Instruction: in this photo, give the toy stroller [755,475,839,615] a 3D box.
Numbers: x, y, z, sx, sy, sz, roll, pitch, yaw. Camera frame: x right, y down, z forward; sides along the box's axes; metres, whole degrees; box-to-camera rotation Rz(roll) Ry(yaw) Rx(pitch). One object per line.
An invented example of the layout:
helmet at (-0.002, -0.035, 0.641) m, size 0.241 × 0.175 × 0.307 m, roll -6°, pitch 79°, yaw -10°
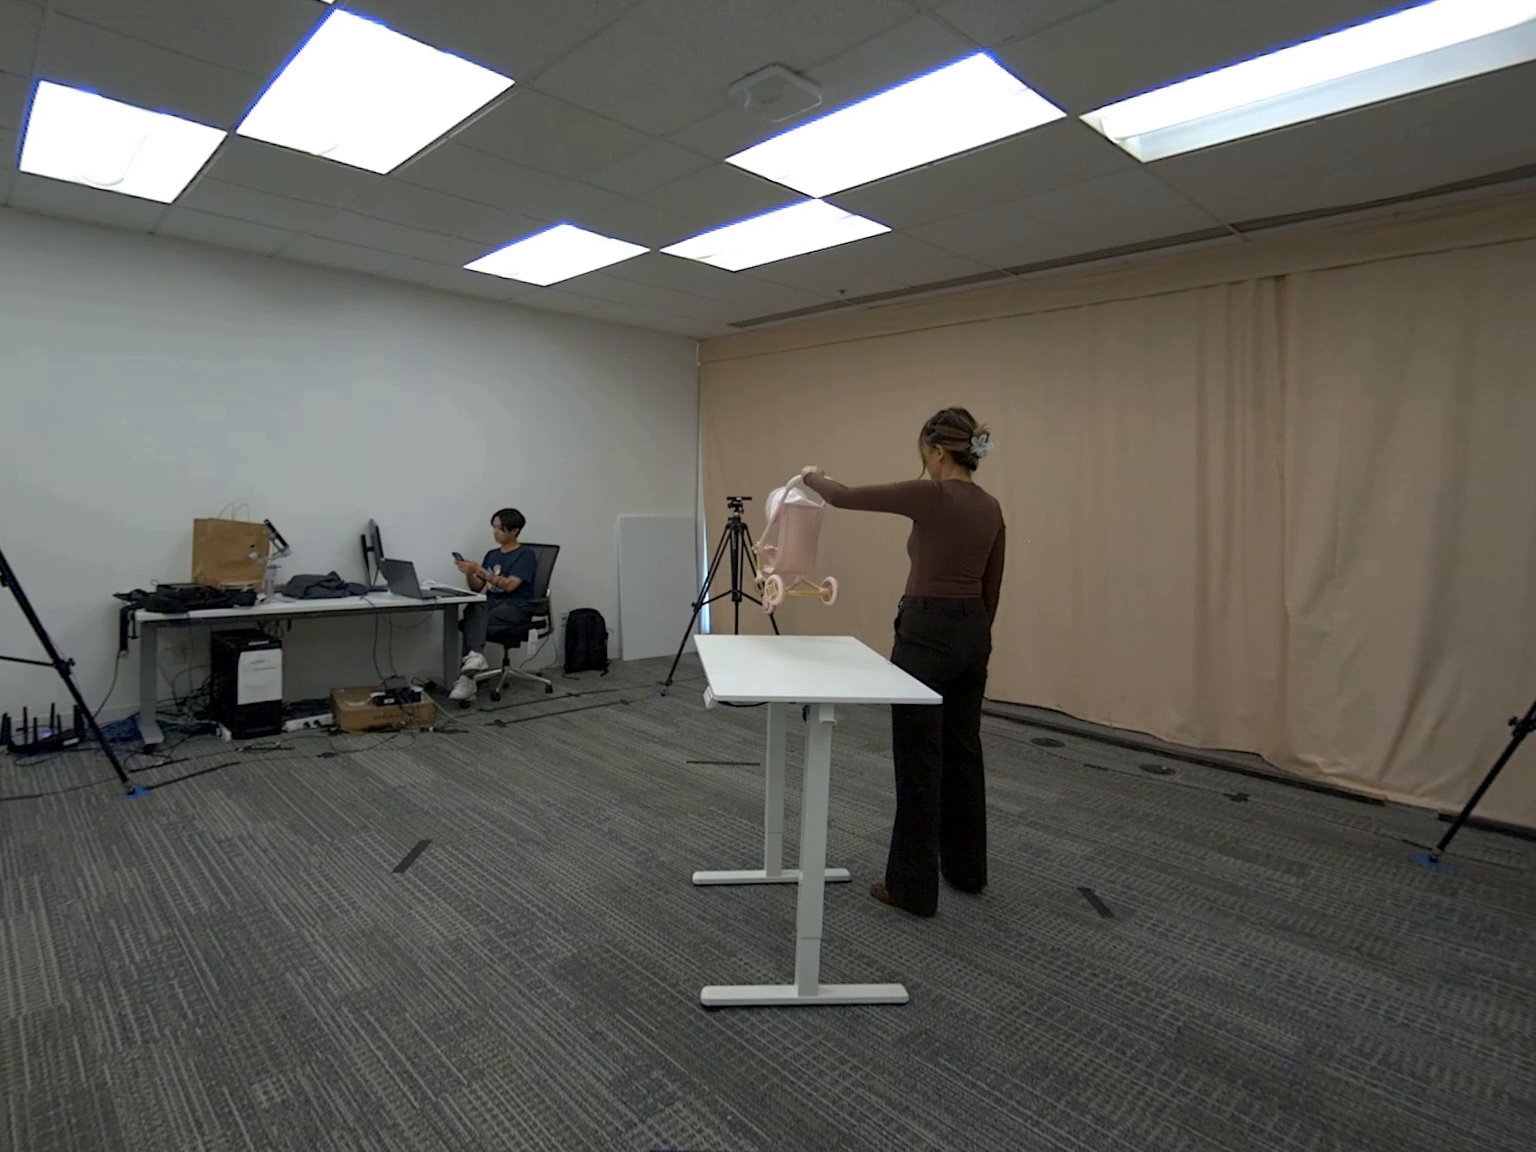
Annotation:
toy stroller at (0.078, -0.101, 3.226) m, size 0.276 × 0.535 × 0.348 m, roll 2°, pitch 1°, yaw -27°
